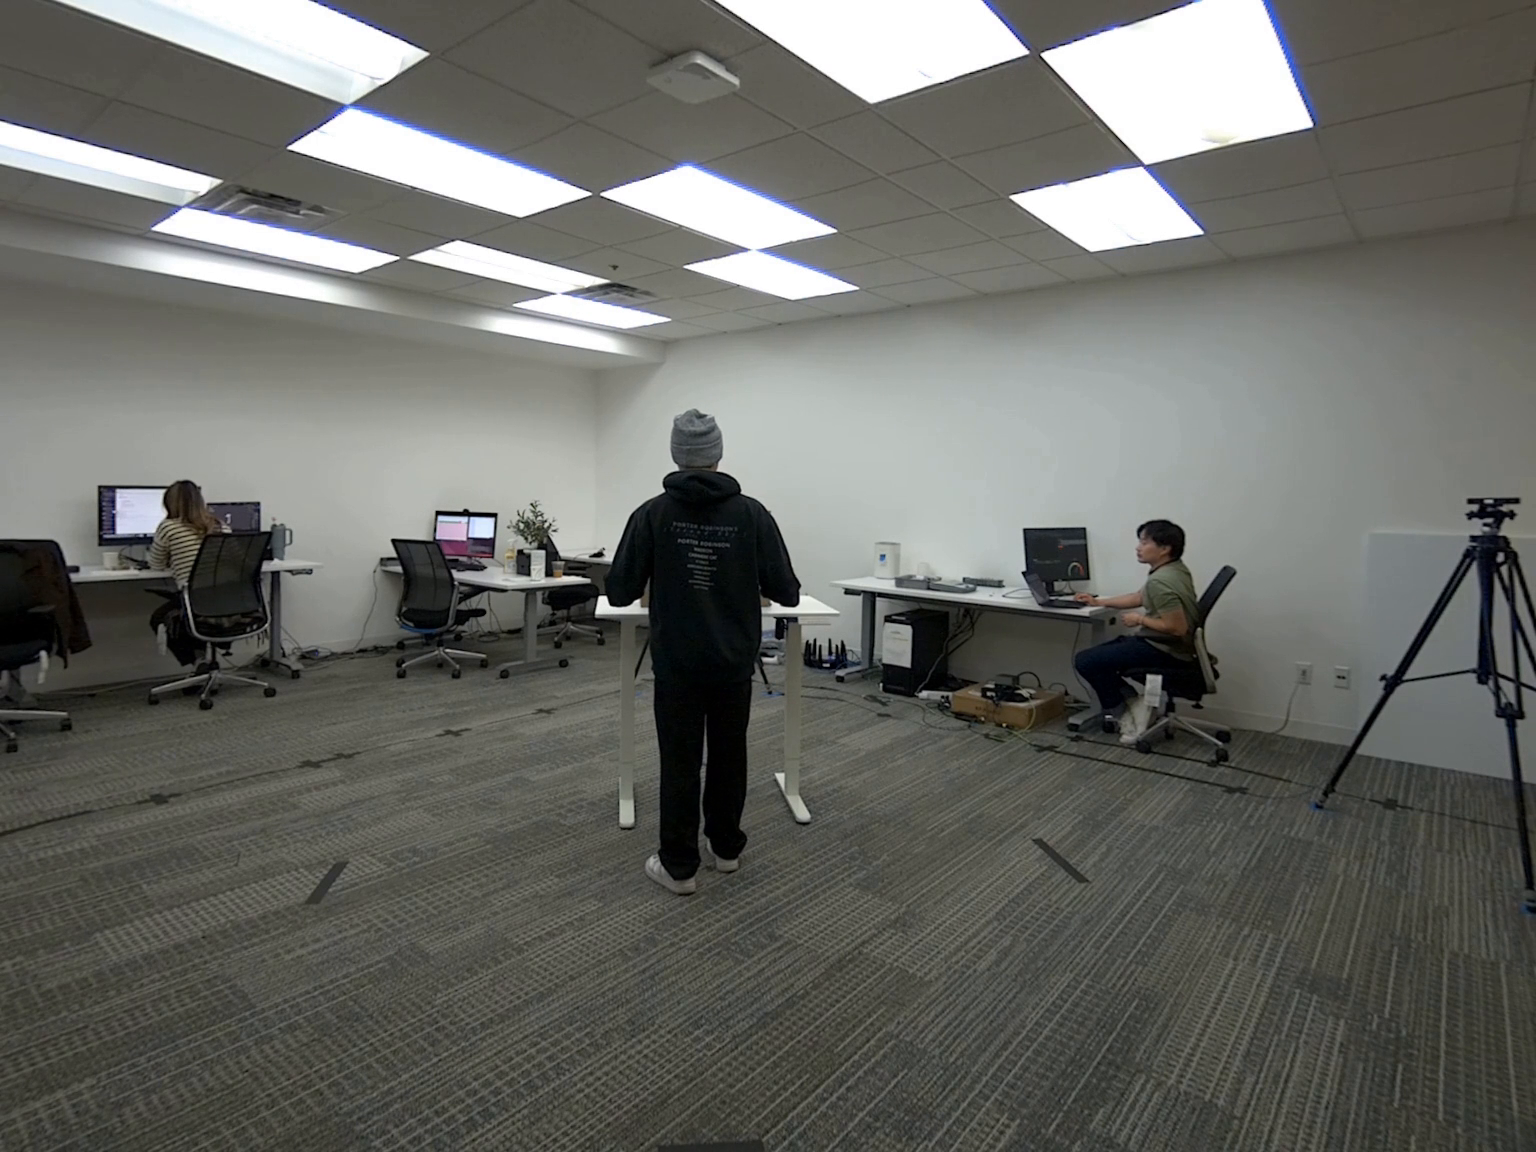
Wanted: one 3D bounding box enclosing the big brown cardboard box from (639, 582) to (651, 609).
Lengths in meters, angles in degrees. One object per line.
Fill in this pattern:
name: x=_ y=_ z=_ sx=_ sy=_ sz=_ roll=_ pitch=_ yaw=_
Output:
big brown cardboard box: x=-0.286 y=-0.088 z=3.725 sx=0.584 sy=0.417 sz=0.236 roll=0 pitch=3 yaw=-8
